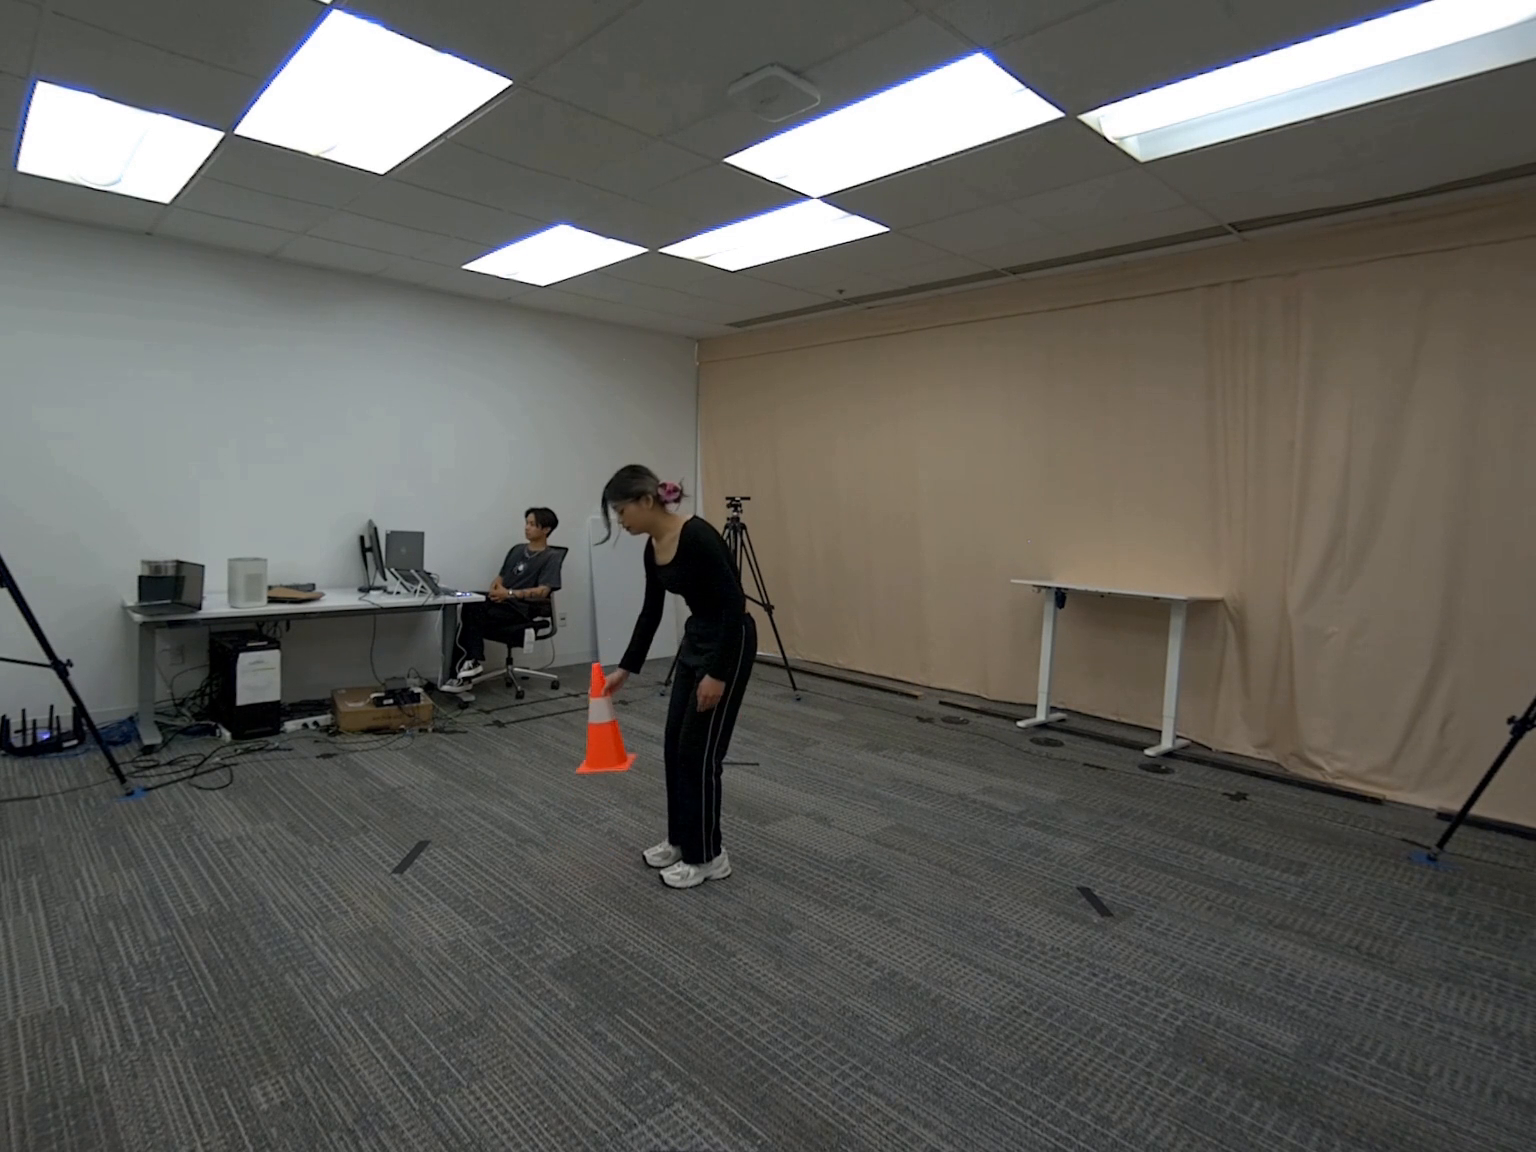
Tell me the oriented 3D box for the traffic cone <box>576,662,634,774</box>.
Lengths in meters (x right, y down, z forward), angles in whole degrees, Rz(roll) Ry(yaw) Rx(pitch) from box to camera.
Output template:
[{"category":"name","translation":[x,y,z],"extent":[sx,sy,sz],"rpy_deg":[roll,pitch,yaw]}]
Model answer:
[{"category":"traffic cone","translation":[-0.625,0.524,3.172],"extent":[0.204,0.383,0.204],"rpy_deg":[-4,1,4]}]
